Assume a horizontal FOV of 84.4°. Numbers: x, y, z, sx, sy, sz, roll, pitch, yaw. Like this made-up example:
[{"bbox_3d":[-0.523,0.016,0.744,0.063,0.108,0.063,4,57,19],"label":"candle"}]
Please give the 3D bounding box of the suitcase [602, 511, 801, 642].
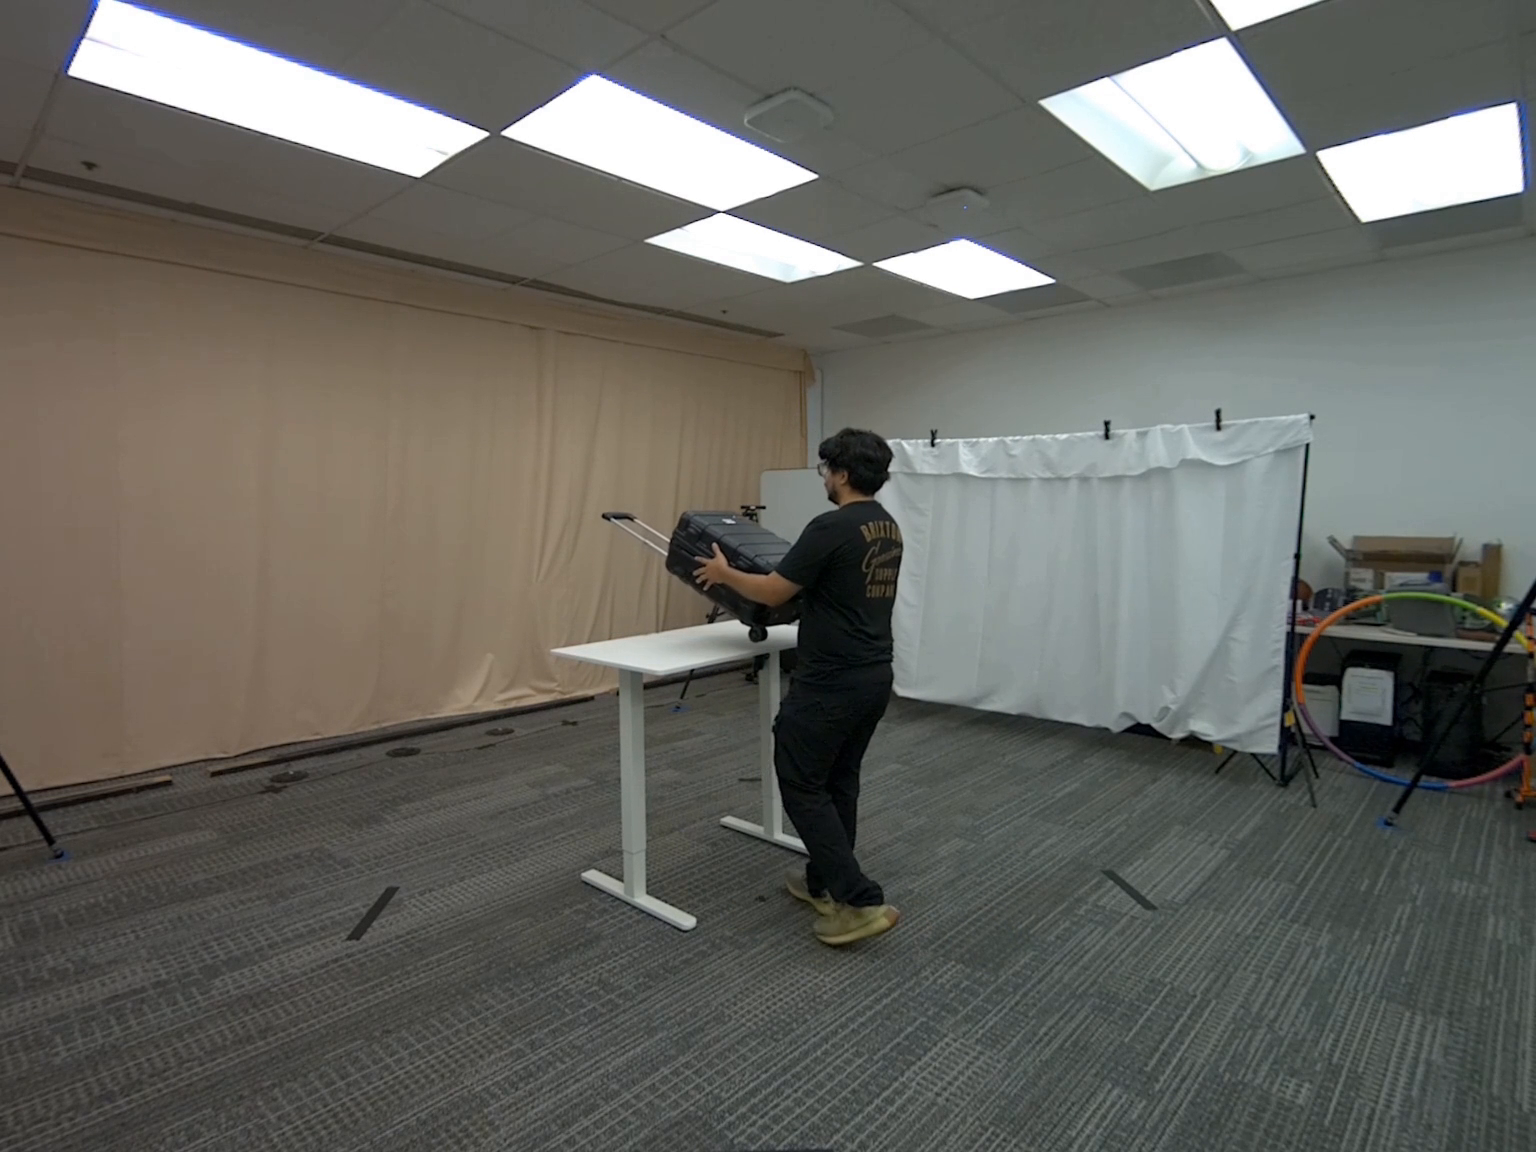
[{"bbox_3d":[-0.234,-0.127,3.196,1.013,0.256,0.372,34,23,33],"label":"suitcase"}]
